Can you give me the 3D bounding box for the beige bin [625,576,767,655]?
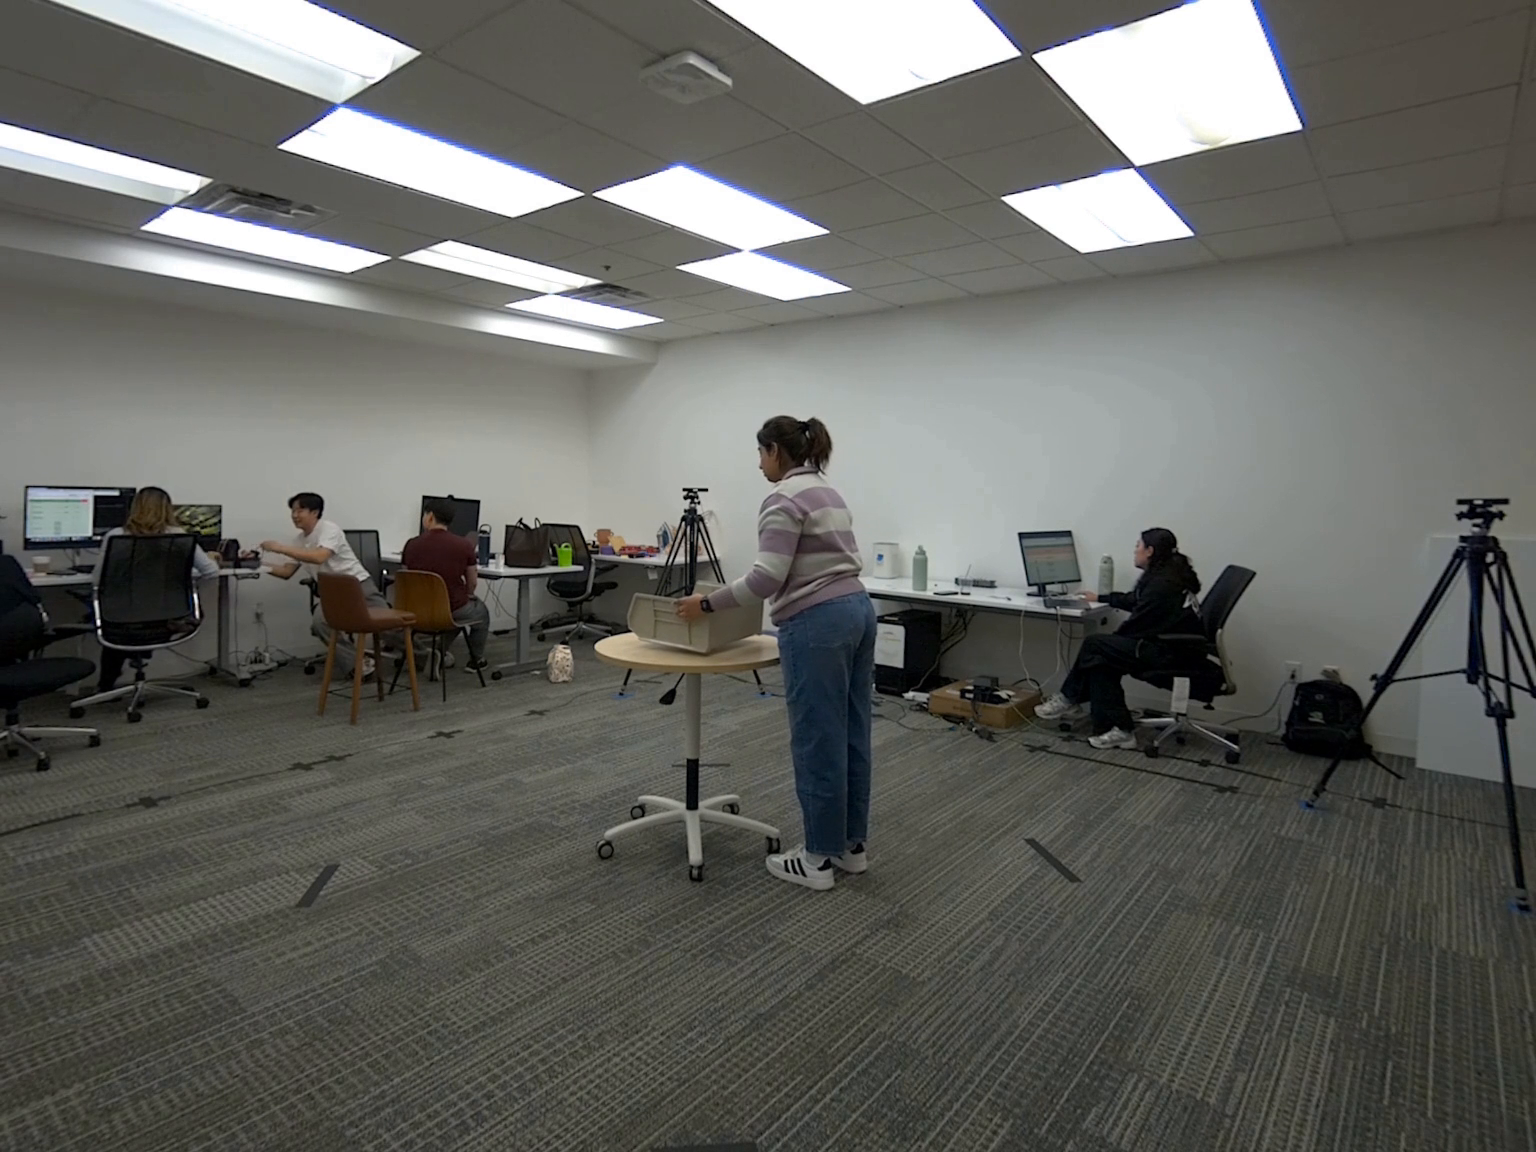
[{"bbox_3d":[-0.279,0.143,3.308,0.389,0.188,0.412,9,10,30],"label":"beige bin"}]
